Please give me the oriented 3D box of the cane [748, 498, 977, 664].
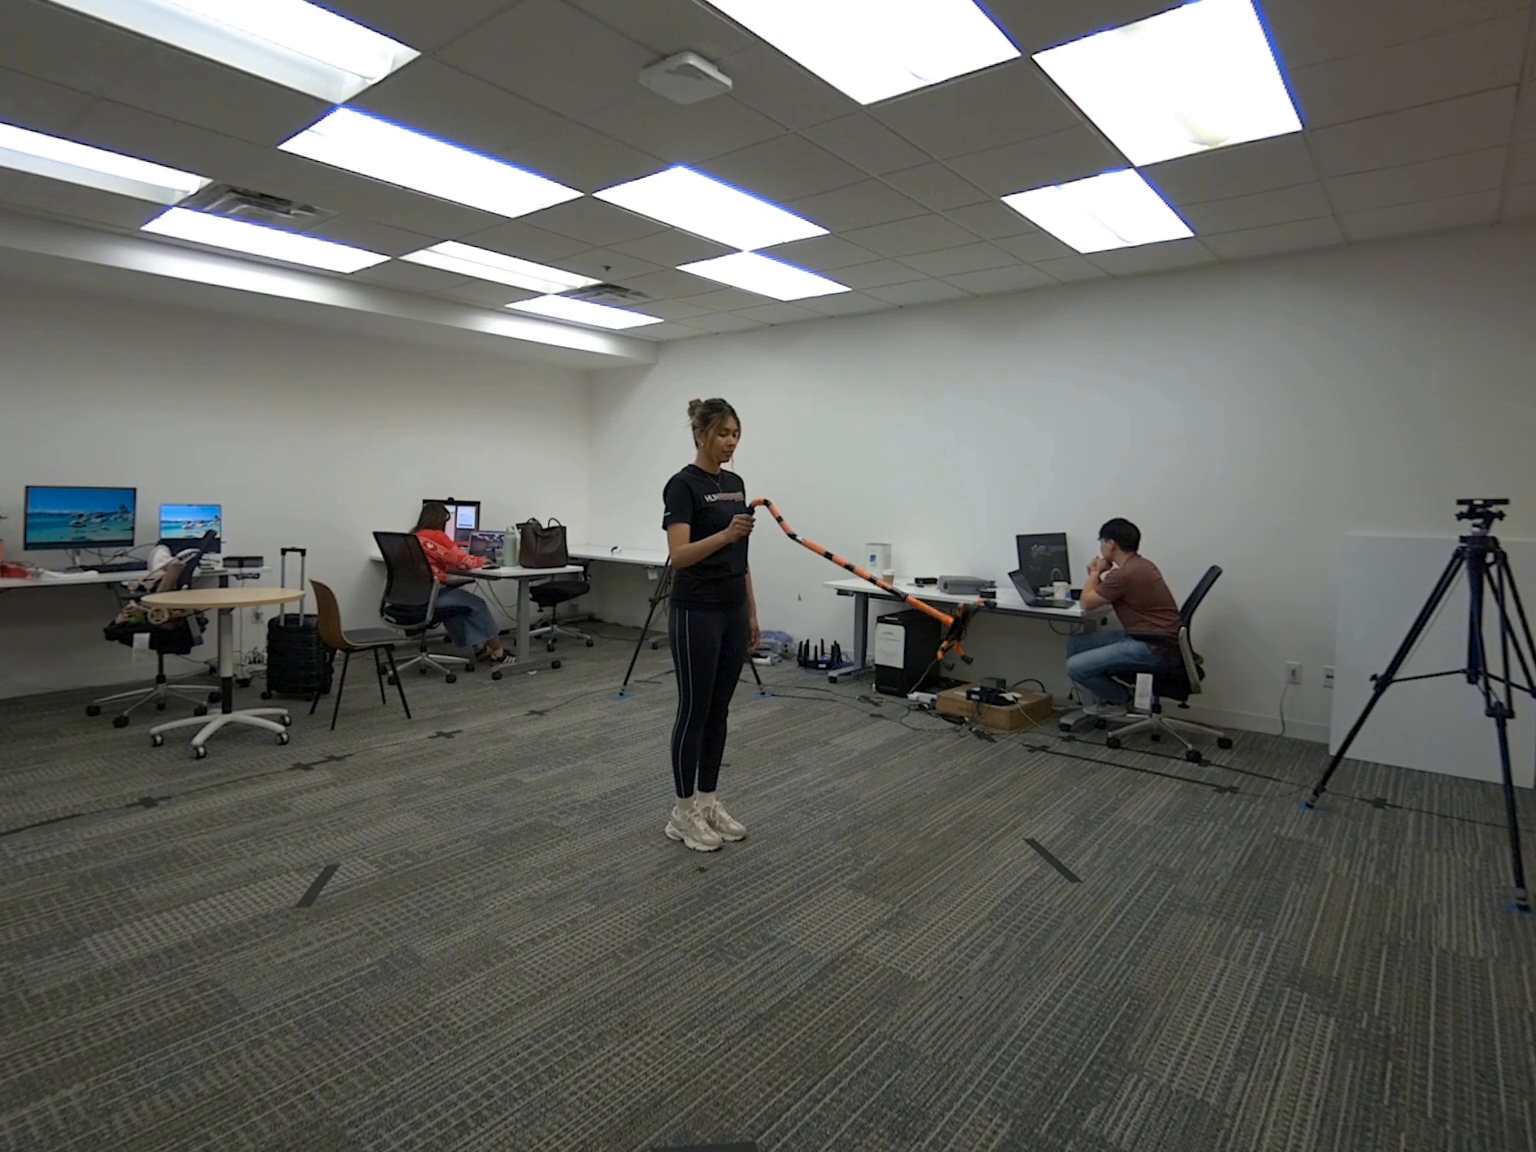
[{"bbox_3d":[0.244,-0.011,2.669,0.945,0.204,0.147,32,25,35],"label":"cane"}]
